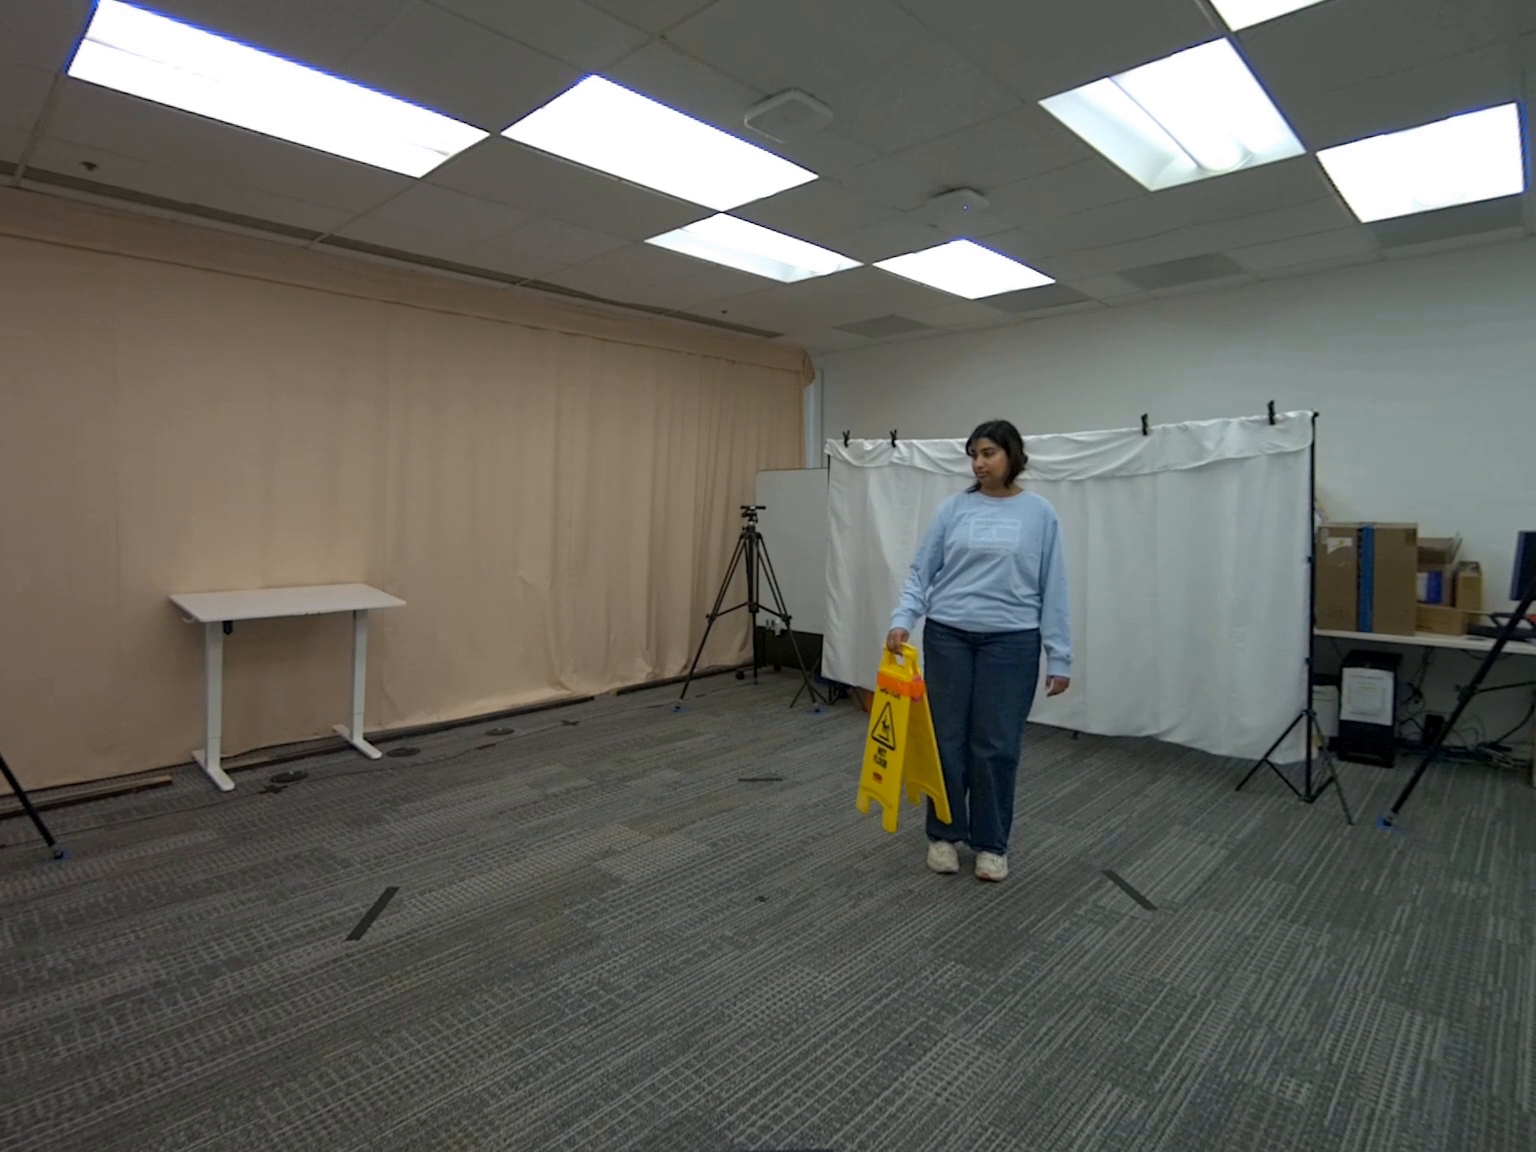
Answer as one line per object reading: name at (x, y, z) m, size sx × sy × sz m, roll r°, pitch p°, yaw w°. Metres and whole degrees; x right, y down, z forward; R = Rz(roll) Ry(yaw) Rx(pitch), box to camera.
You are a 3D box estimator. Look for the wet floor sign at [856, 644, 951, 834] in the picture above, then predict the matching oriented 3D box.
wet floor sign at (0.505, 0.578, 3.128) m, size 0.284 × 0.645 × 0.288 m, roll -2°, pitch 3°, yaw -20°
